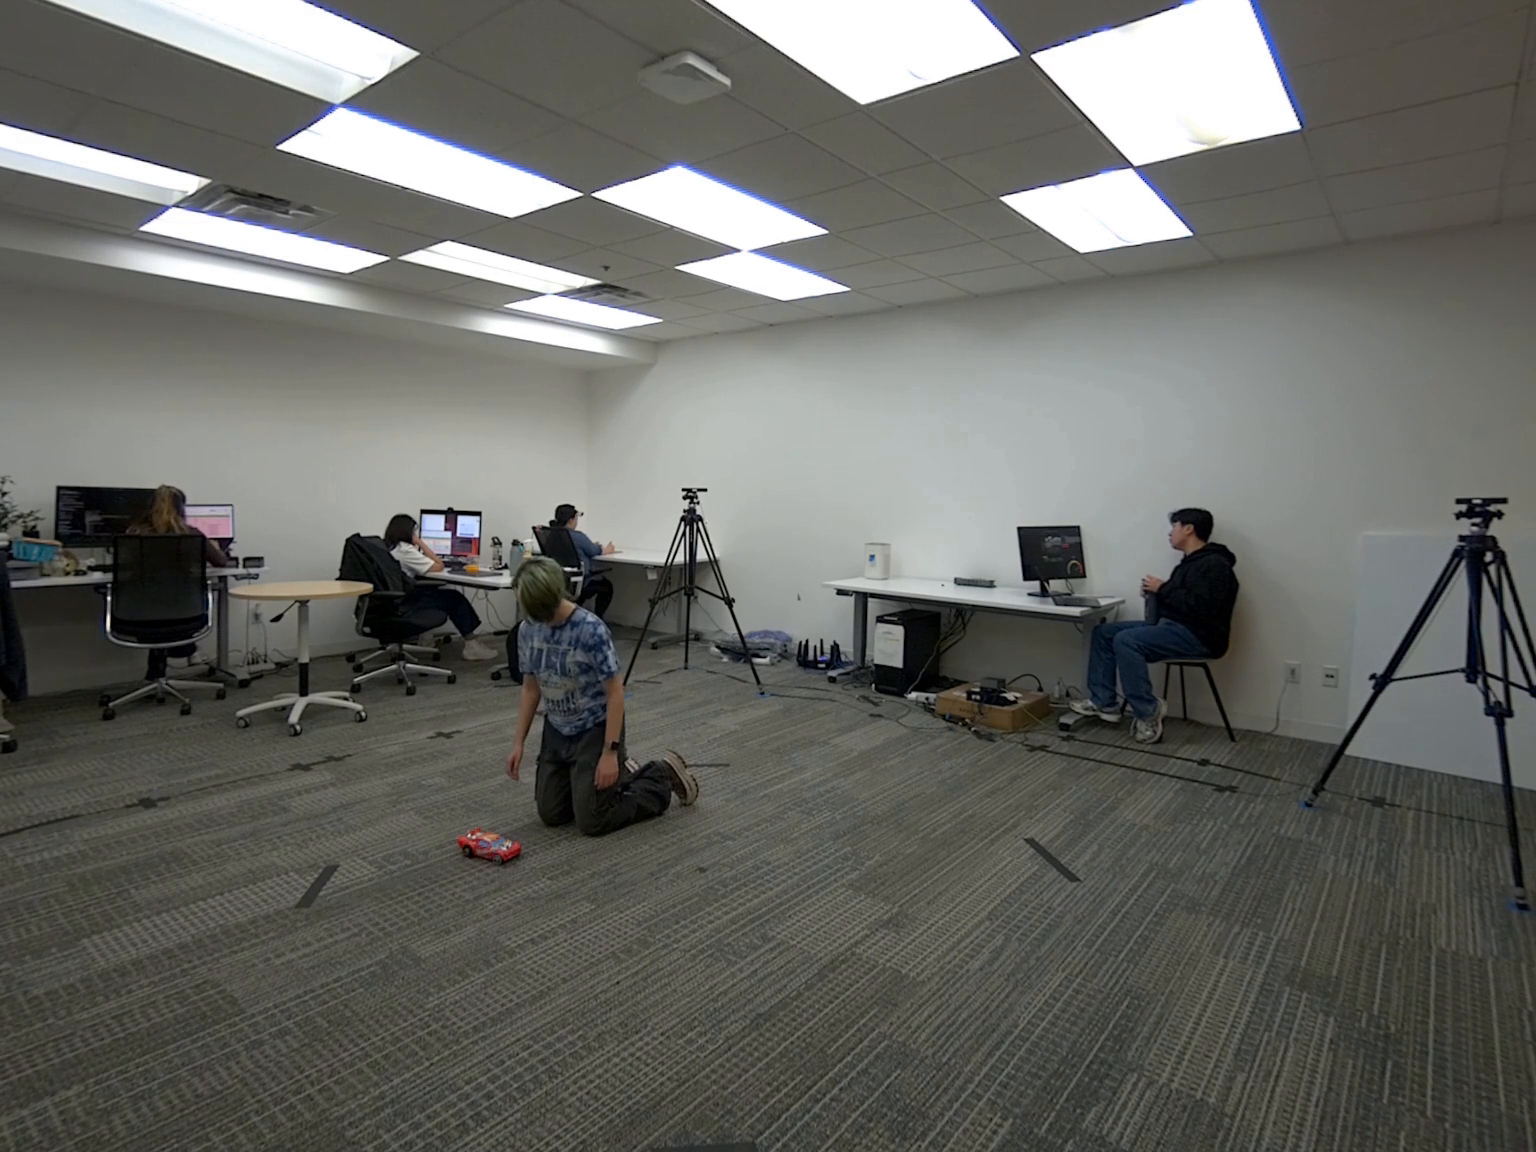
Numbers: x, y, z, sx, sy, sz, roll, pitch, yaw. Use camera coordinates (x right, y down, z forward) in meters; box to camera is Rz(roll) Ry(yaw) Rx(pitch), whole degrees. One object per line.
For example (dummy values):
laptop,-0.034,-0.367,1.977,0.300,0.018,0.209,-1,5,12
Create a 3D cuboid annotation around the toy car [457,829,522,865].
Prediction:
toy car,-1.072,1.019,3.197,0.262,0.083,0.127,14,10,25
